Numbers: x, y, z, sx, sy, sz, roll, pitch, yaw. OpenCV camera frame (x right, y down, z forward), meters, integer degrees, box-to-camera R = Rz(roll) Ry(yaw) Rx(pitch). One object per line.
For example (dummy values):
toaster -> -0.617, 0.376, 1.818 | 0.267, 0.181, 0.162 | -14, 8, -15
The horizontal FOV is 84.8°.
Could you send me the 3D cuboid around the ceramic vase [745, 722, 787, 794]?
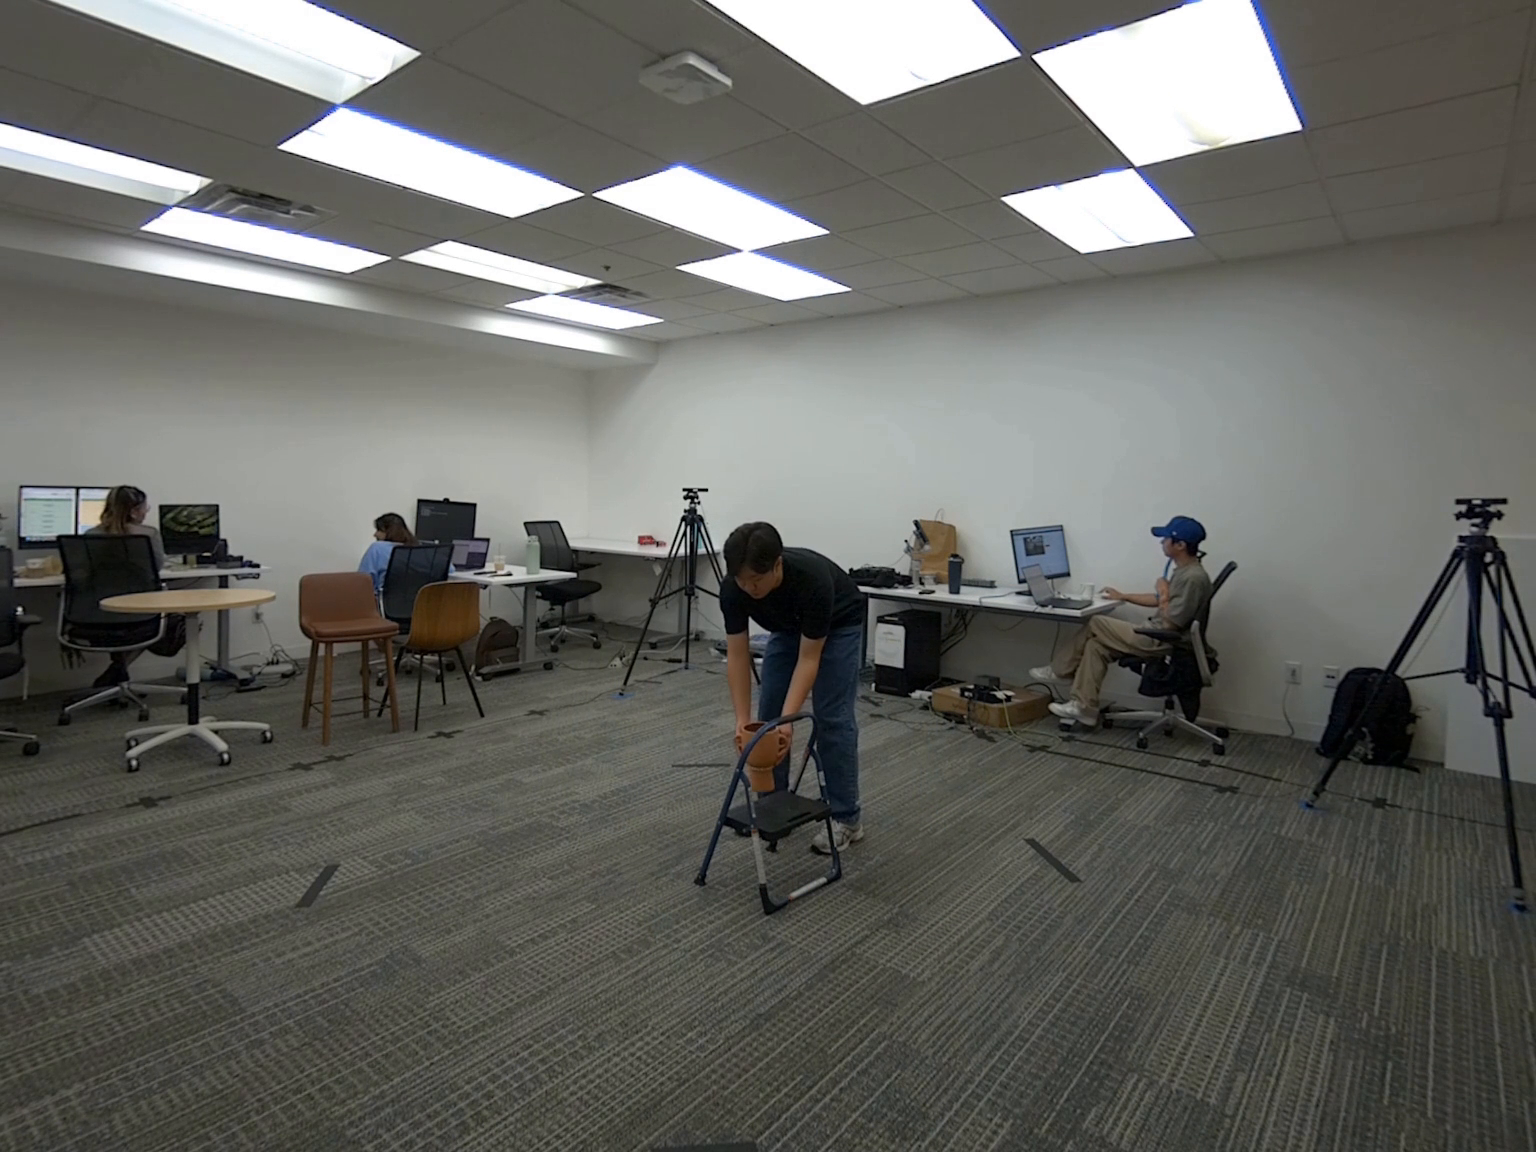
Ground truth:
ceramic vase -> -0.034, 0.650, 3.029 | 0.131, 0.219, 0.164 | -3, 5, -40
